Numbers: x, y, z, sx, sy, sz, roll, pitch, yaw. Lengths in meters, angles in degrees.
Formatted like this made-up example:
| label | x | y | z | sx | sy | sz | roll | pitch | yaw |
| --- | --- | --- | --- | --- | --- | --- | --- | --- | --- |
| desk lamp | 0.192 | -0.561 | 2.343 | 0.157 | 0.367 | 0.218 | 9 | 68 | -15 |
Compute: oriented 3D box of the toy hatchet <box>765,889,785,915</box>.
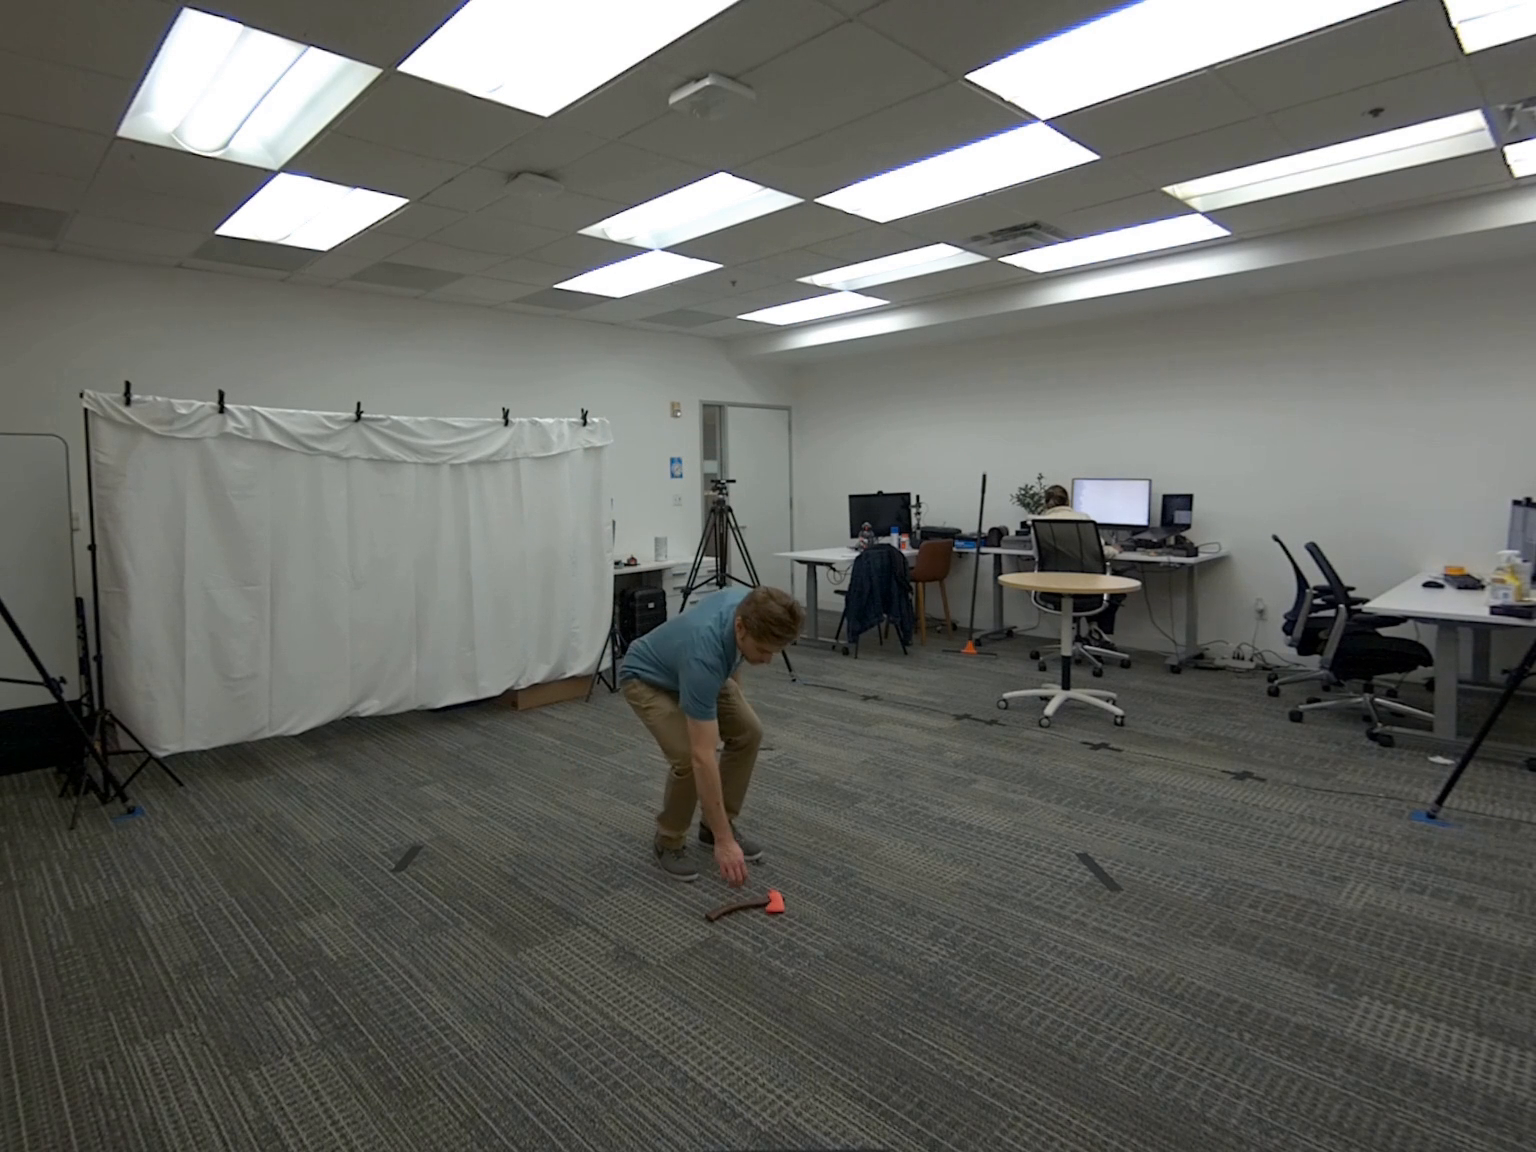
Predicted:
| label | x | y | z | sx | sy | sz | roll | pitch | yaw |
| --- | --- | --- | --- | --- | --- | --- | --- | --- | --- |
| toy hatchet | -0.051 | 1.077 | 2.752 | 0.263 | 0.029 | 0.135 | -8 | 12 | -35 |
